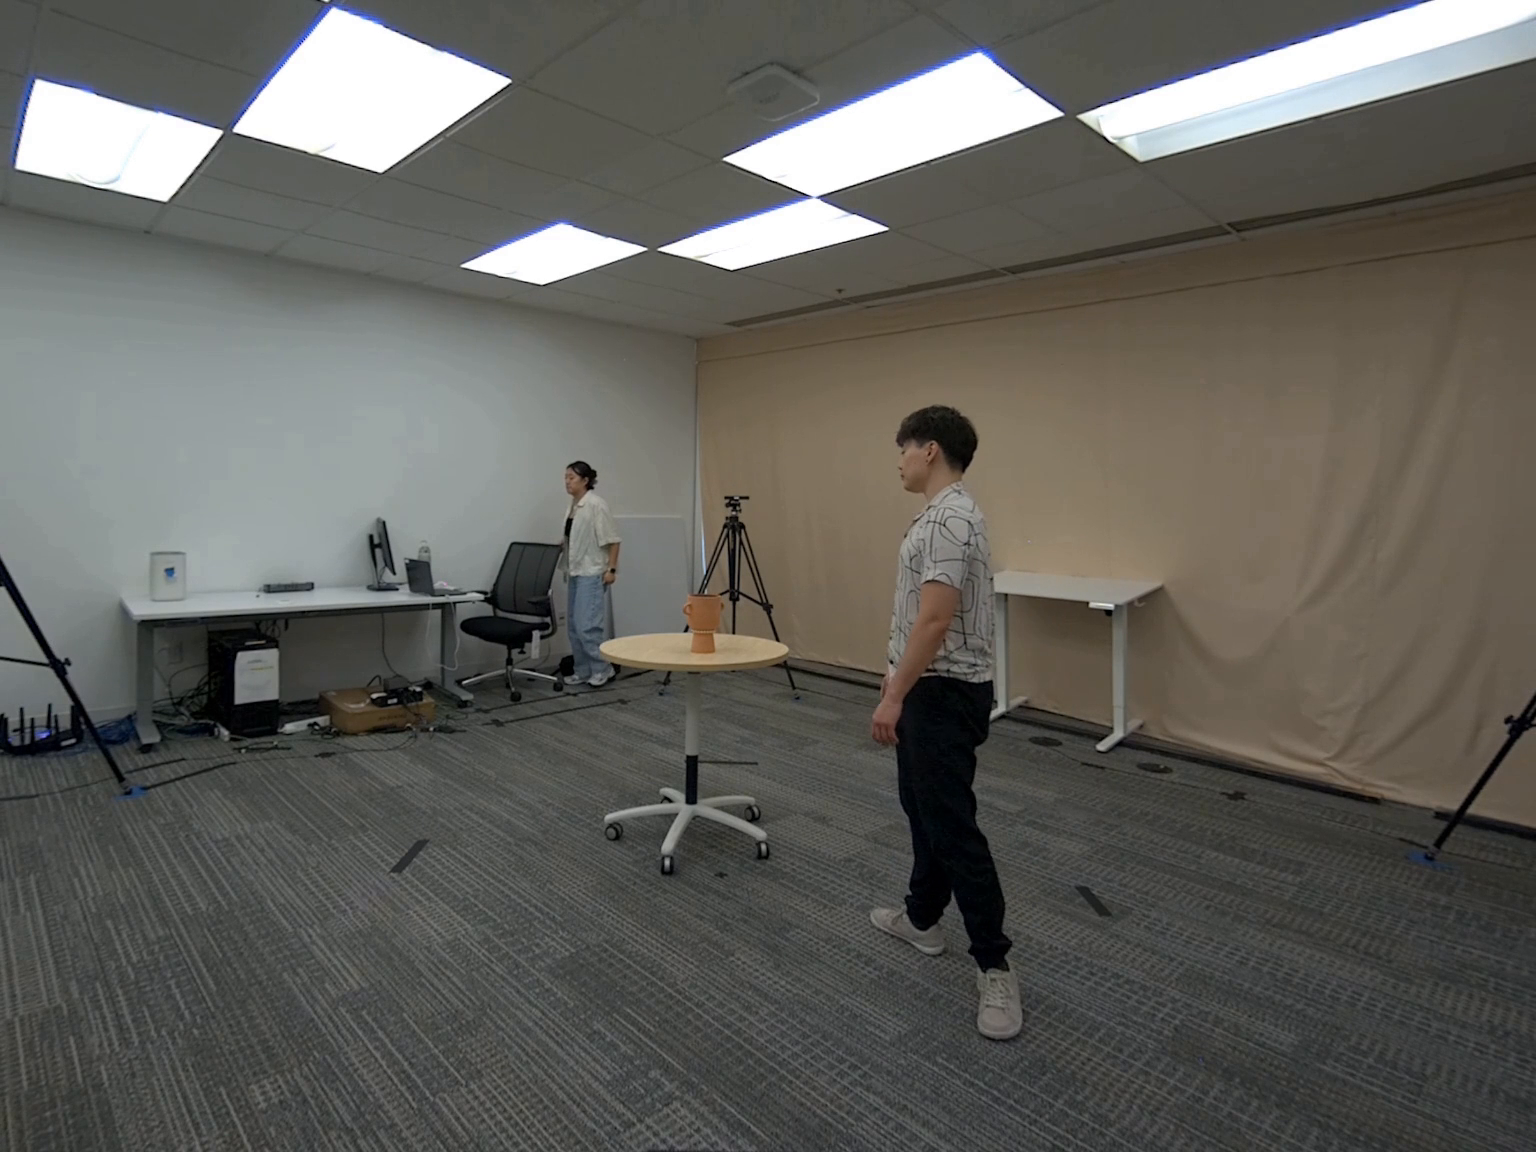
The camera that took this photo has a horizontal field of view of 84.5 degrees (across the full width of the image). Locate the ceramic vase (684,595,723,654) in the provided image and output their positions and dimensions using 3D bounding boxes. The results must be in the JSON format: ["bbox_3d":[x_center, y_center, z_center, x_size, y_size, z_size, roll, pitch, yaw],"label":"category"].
[{"bbox_3d":[-0.261,0.188,3.310,0.159,0.219,0.135,0,4,0],"label":"ceramic vase"}]
